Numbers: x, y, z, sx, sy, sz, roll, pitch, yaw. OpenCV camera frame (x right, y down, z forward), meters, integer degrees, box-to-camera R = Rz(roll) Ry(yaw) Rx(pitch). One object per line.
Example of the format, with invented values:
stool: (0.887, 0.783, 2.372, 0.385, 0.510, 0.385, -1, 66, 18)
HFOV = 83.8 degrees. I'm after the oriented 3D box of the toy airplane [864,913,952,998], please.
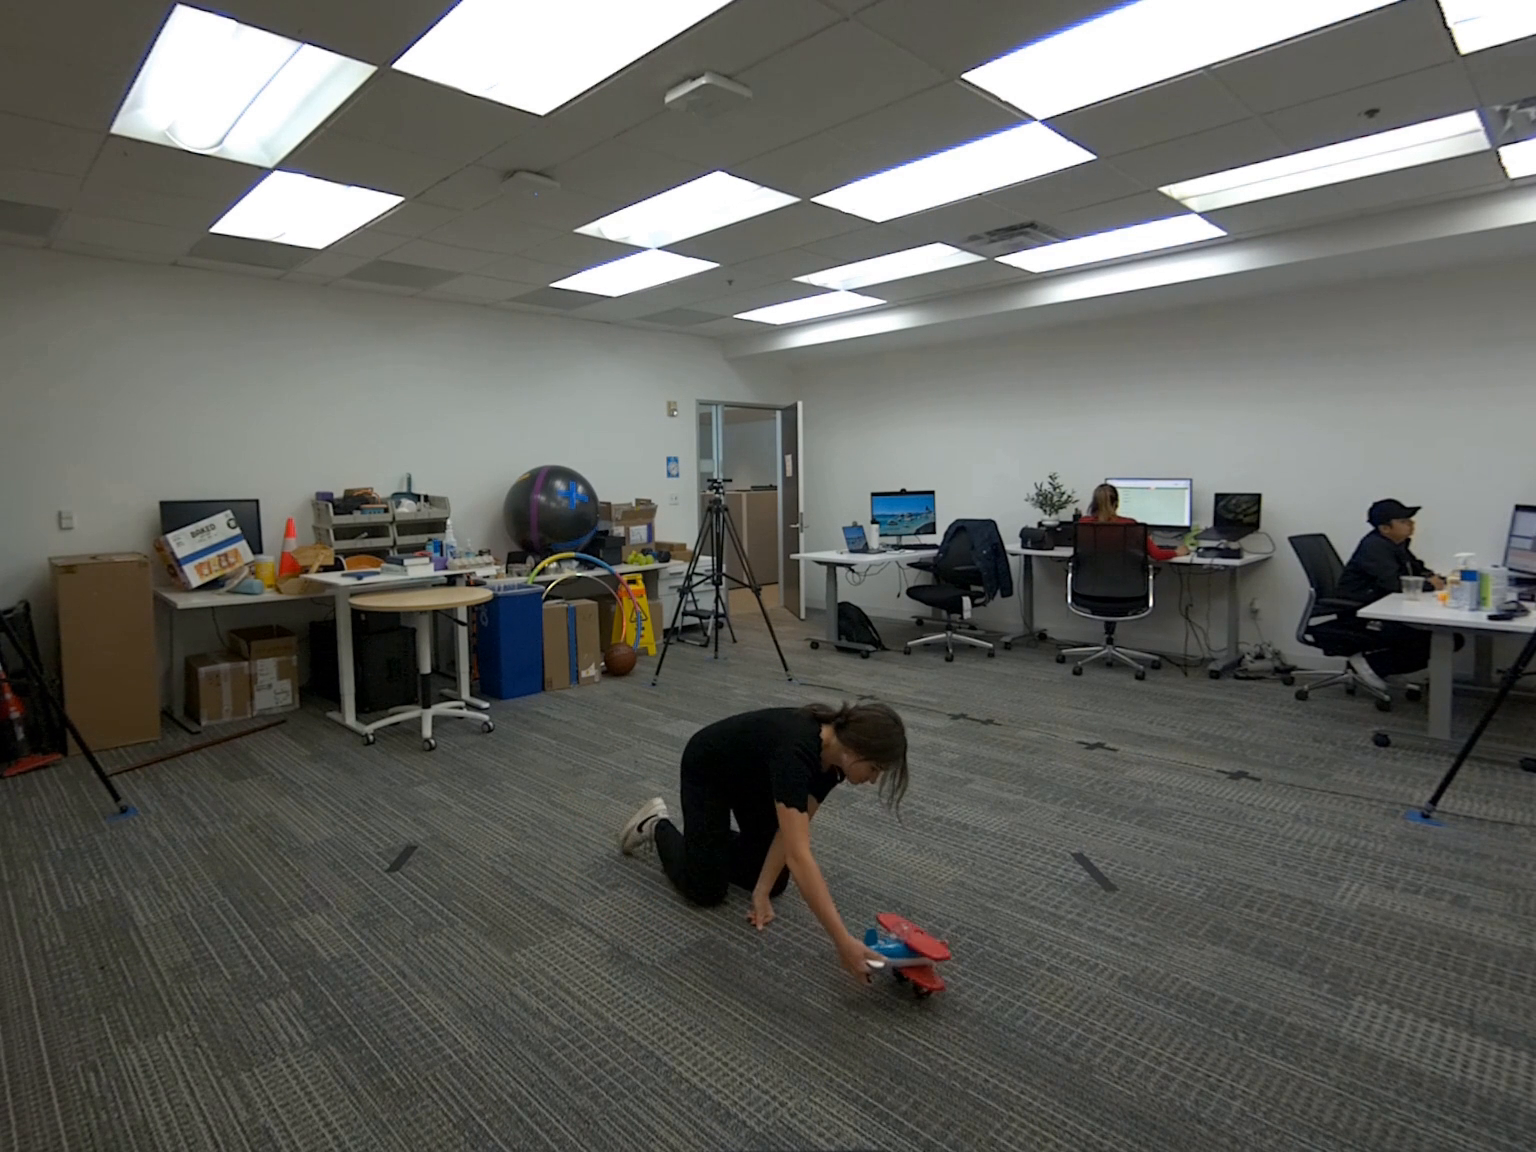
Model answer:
toy airplane: (0.371, 1.030, 2.296, 0.259, 0.157, 0.250, 18, -10, 32)
